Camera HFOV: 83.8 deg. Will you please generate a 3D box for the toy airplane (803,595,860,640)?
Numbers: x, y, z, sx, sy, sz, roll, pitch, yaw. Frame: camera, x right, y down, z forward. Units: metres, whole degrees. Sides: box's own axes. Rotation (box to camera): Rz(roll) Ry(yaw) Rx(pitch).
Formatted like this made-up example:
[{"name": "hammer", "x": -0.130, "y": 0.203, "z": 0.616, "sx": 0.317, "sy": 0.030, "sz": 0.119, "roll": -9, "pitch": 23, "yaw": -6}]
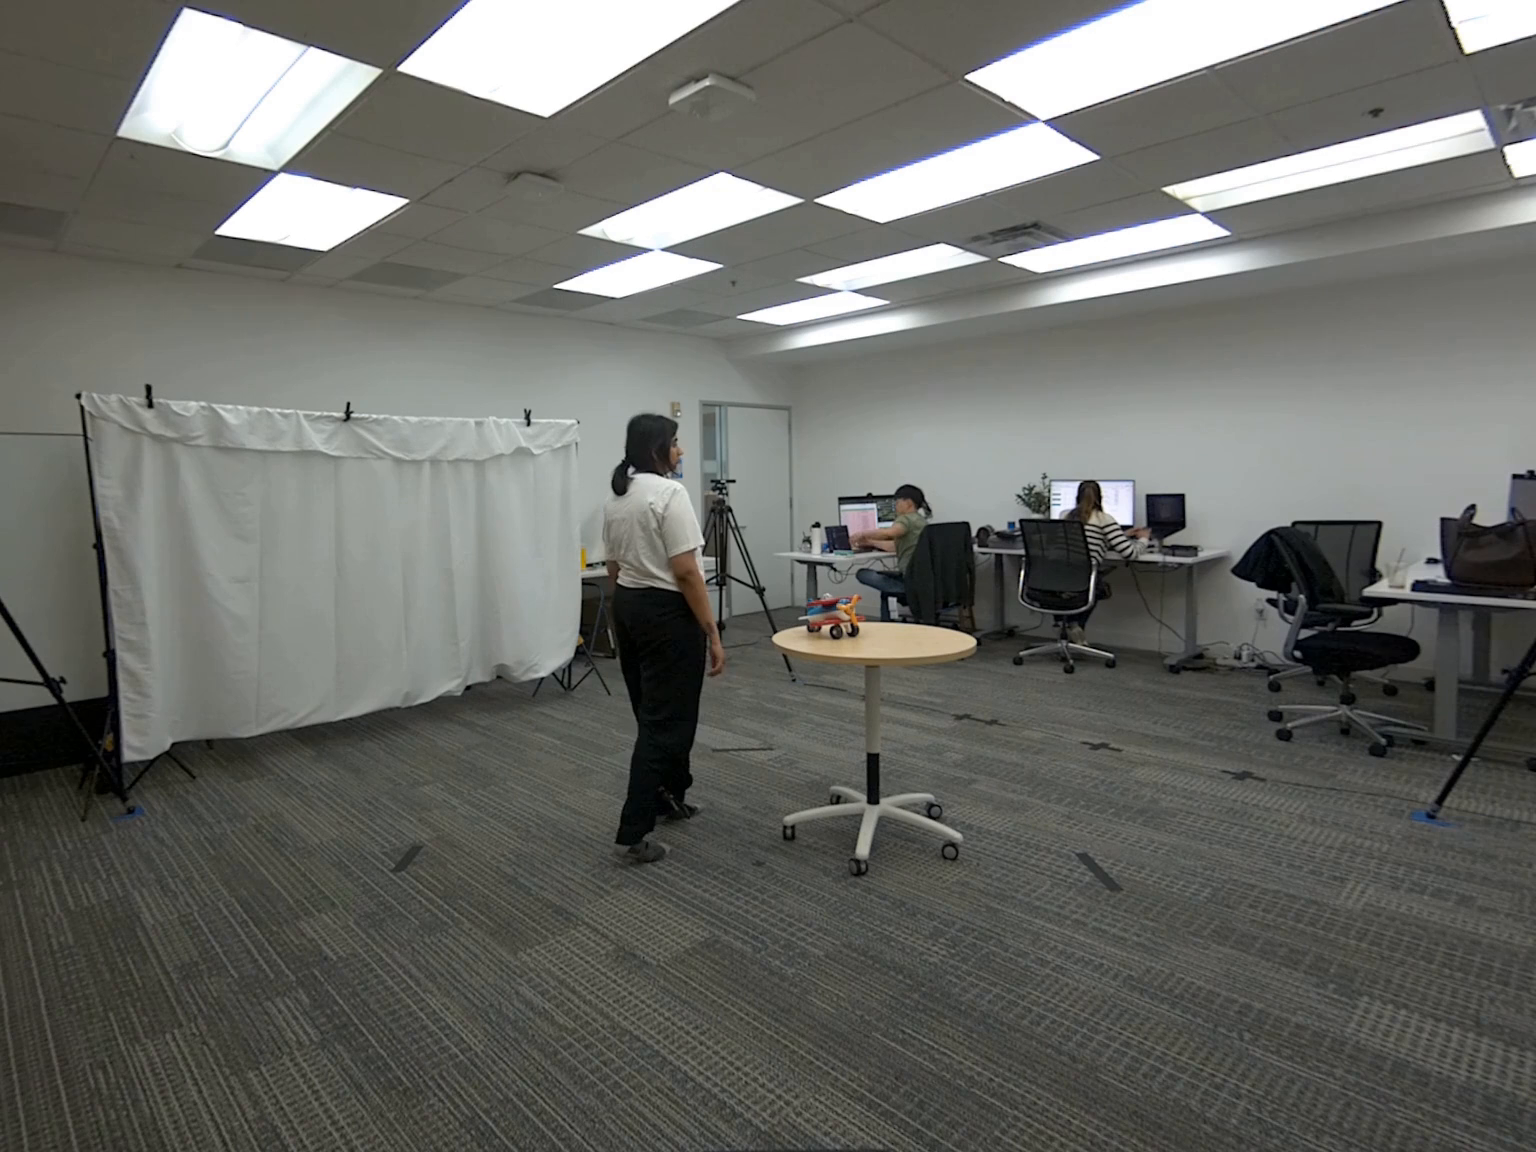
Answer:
[{"name": "toy airplane", "x": 0.226, "y": 0.154, "z": 3.335, "sx": 0.265, "sy": 0.155, "sz": 0.246, "roll": 2, "pitch": 7, "yaw": 26}]
